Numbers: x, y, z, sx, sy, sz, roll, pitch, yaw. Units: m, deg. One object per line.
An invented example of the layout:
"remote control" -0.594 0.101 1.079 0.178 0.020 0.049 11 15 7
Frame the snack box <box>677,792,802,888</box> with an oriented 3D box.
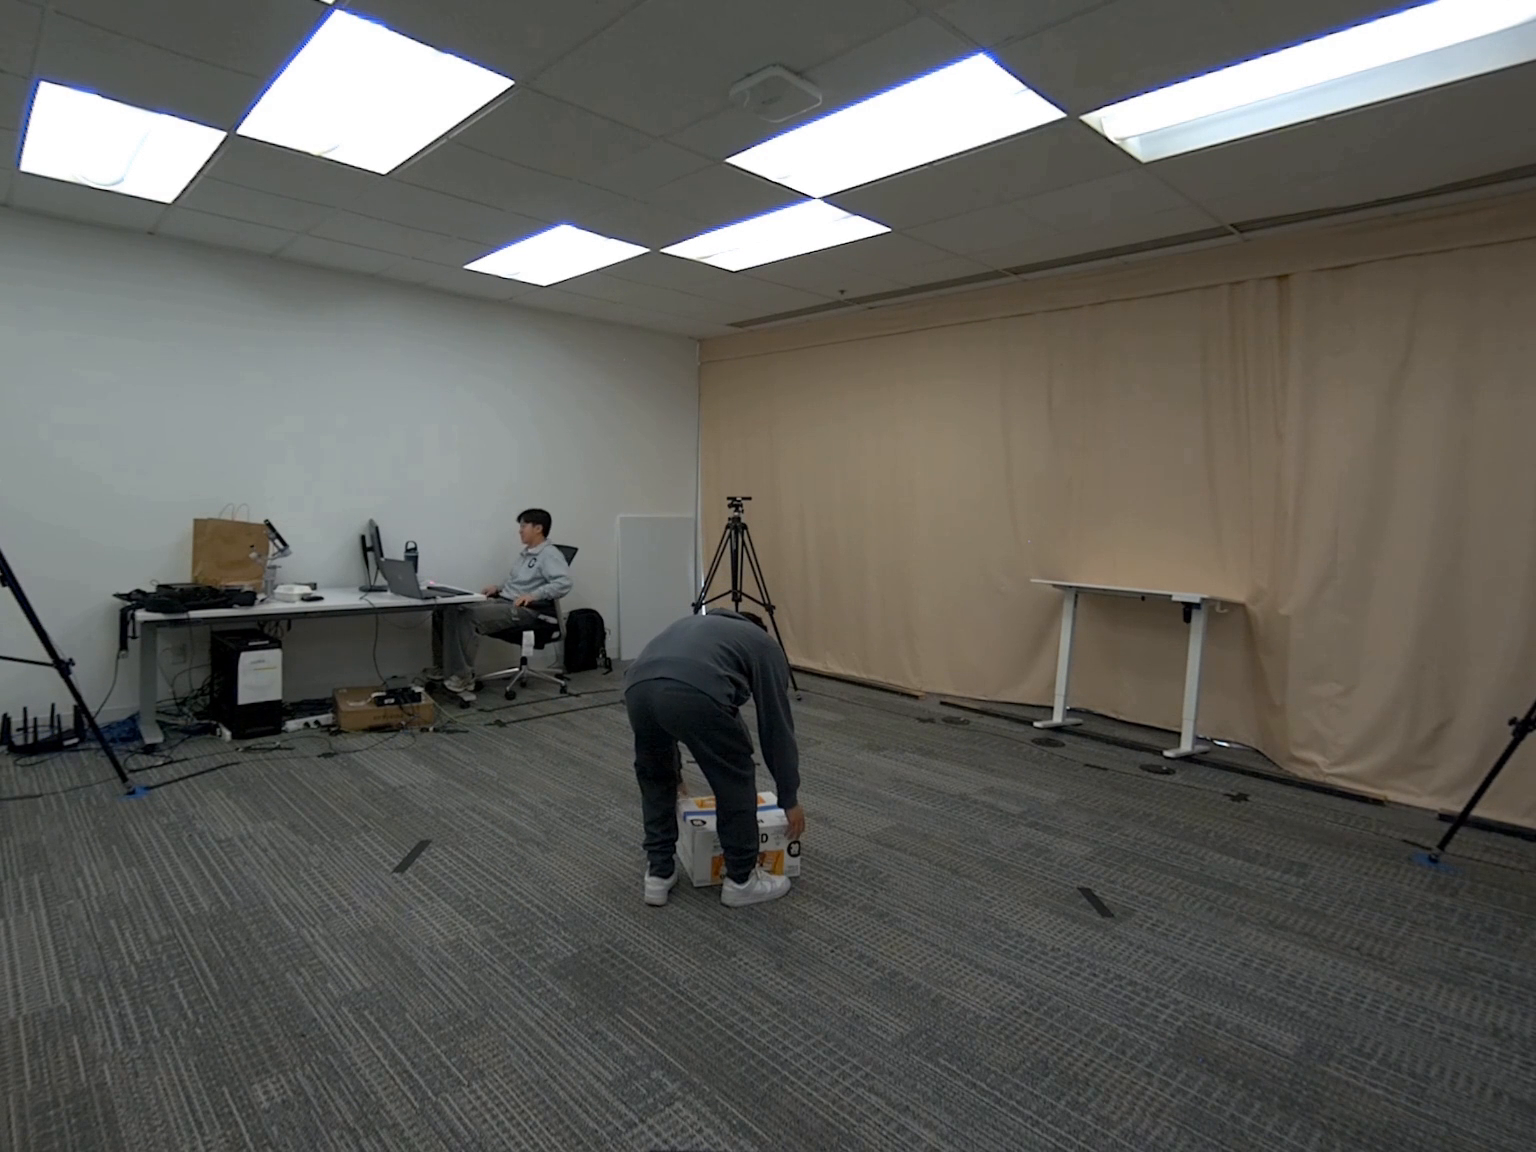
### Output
"snack box" -0.131 0.994 3.209 0.400 0.205 0.346 0 4 -18
